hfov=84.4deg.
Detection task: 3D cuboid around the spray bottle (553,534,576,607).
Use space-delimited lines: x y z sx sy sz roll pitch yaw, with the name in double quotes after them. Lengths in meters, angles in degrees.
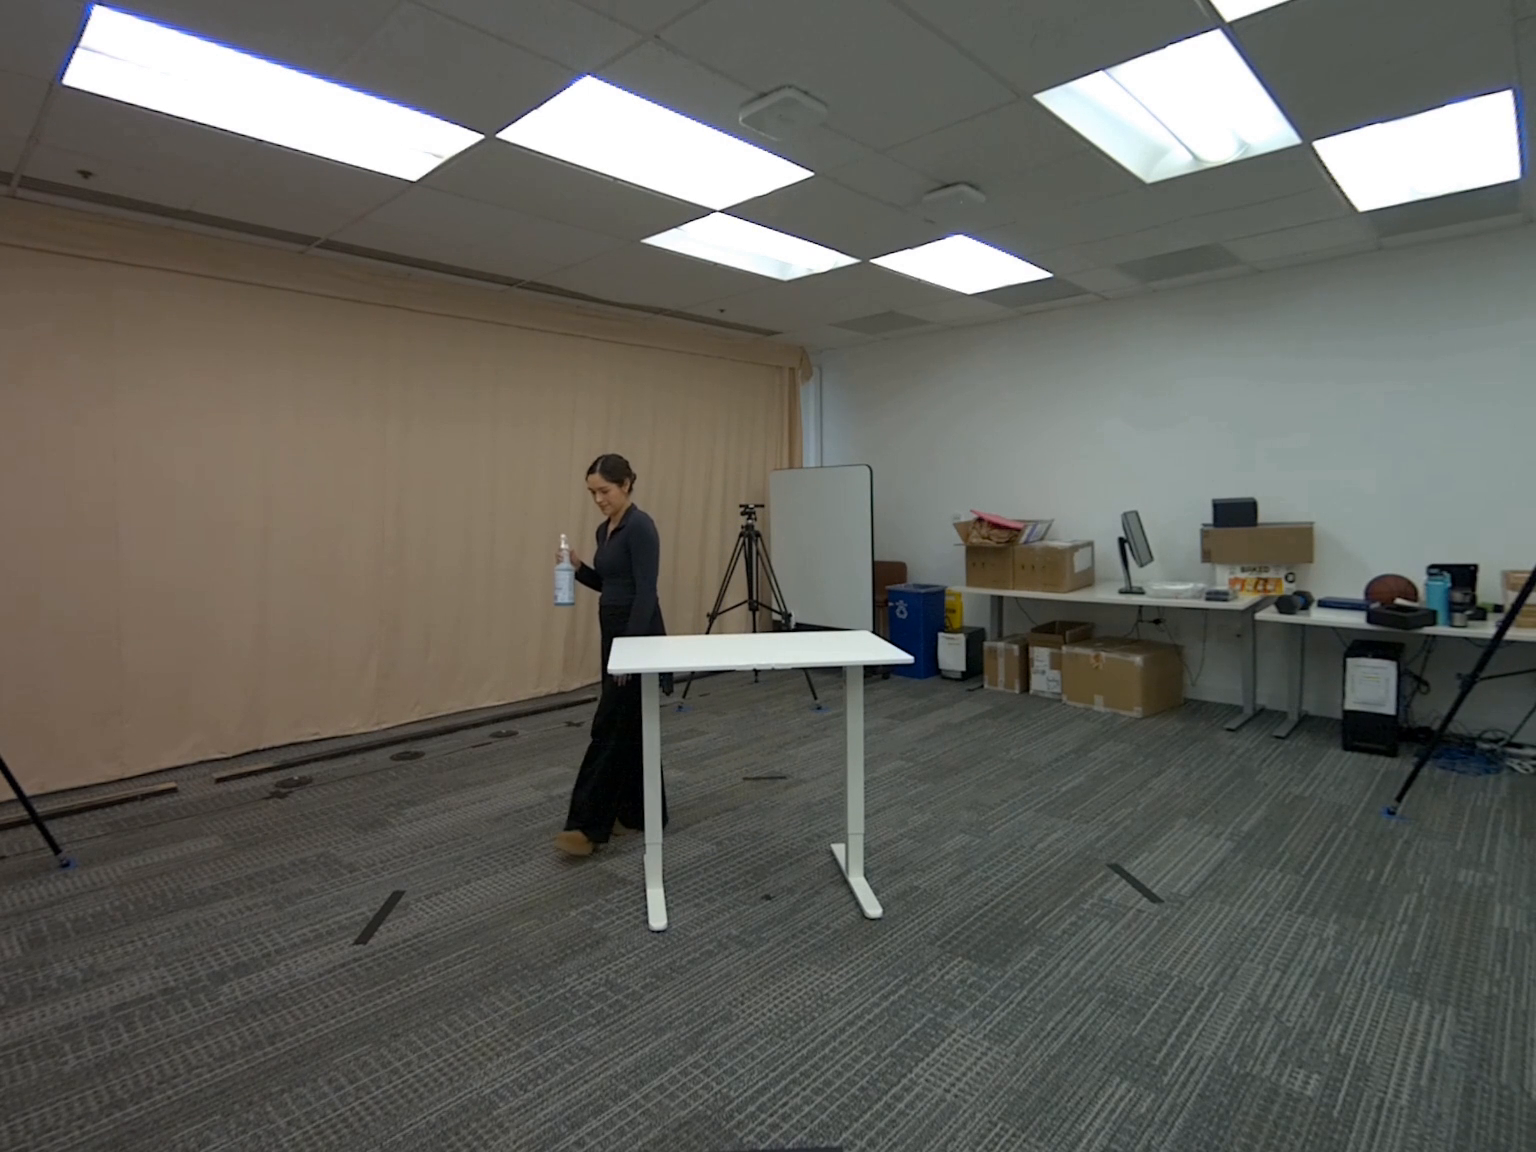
-0.853 -0.022 3.535 0.089 0.297 0.088 -1 1 23 "spray bottle"
